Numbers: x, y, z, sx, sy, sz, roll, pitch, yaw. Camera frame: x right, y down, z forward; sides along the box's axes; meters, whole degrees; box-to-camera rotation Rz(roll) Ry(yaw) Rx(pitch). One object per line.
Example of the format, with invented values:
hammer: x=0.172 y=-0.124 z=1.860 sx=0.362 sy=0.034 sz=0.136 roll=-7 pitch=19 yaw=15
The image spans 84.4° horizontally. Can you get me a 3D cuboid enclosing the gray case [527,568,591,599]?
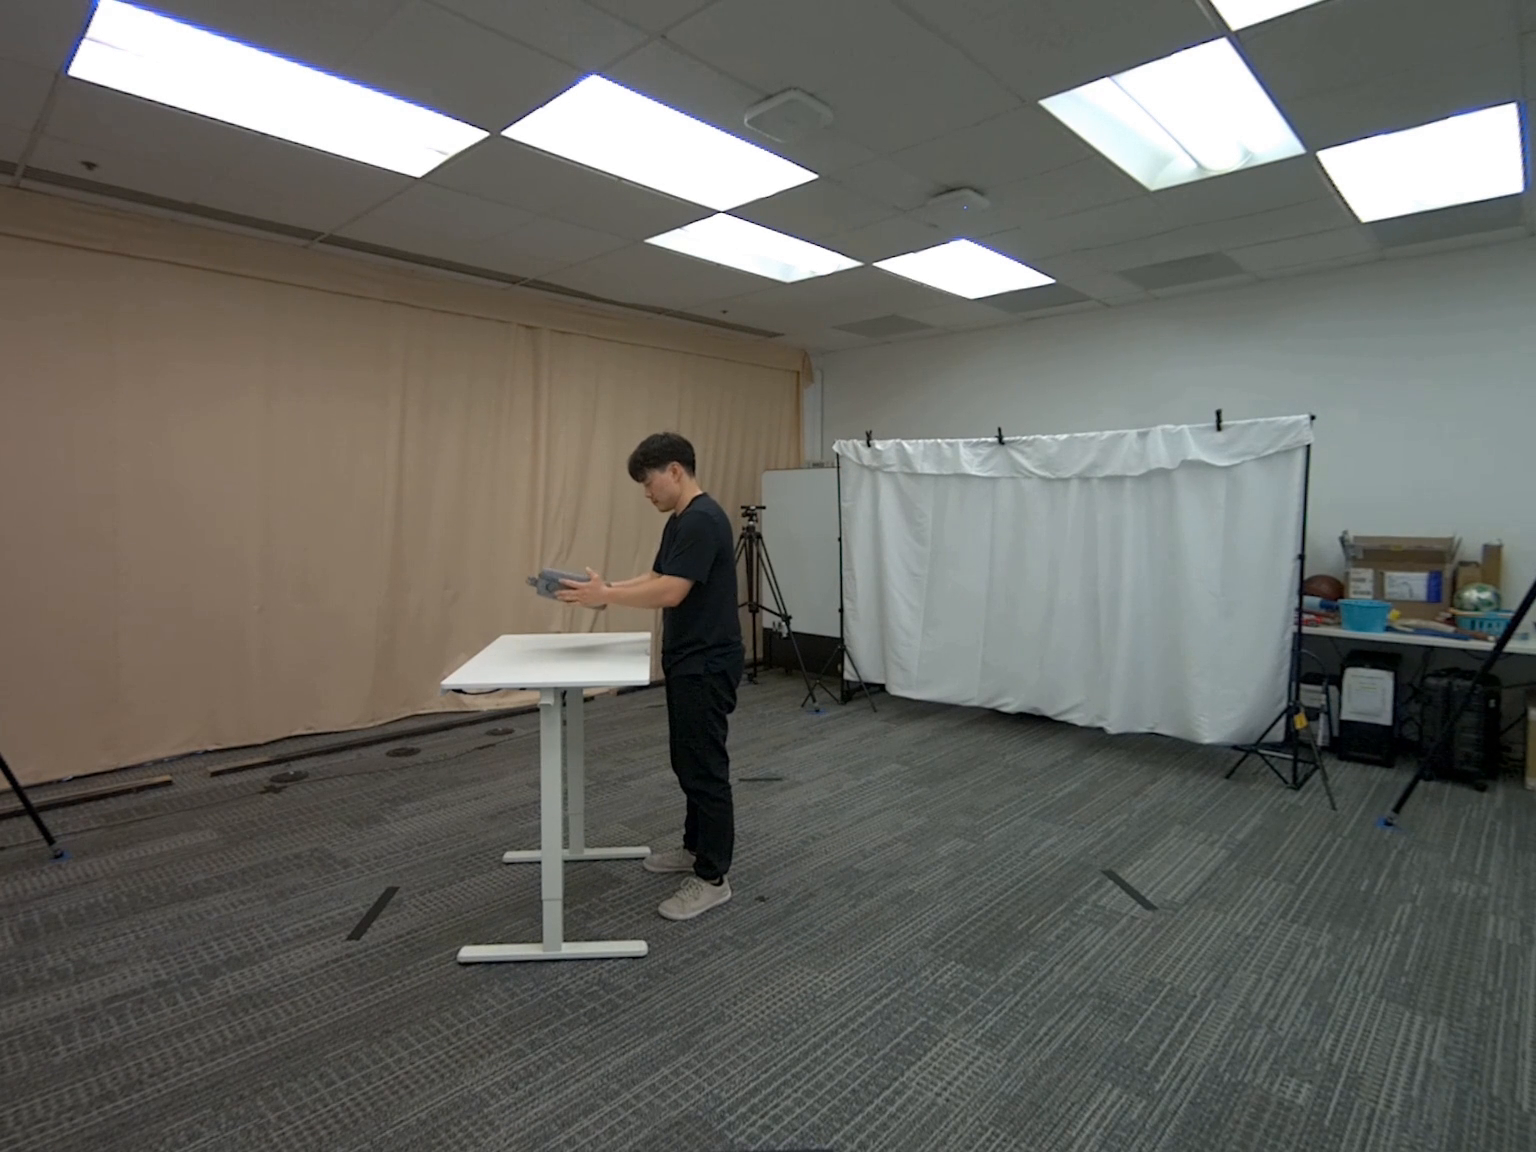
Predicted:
gray case: x=-0.680 y=0.033 z=2.970 sx=0.259 sy=0.104 sz=0.258 roll=7 pitch=1 yaw=-6
